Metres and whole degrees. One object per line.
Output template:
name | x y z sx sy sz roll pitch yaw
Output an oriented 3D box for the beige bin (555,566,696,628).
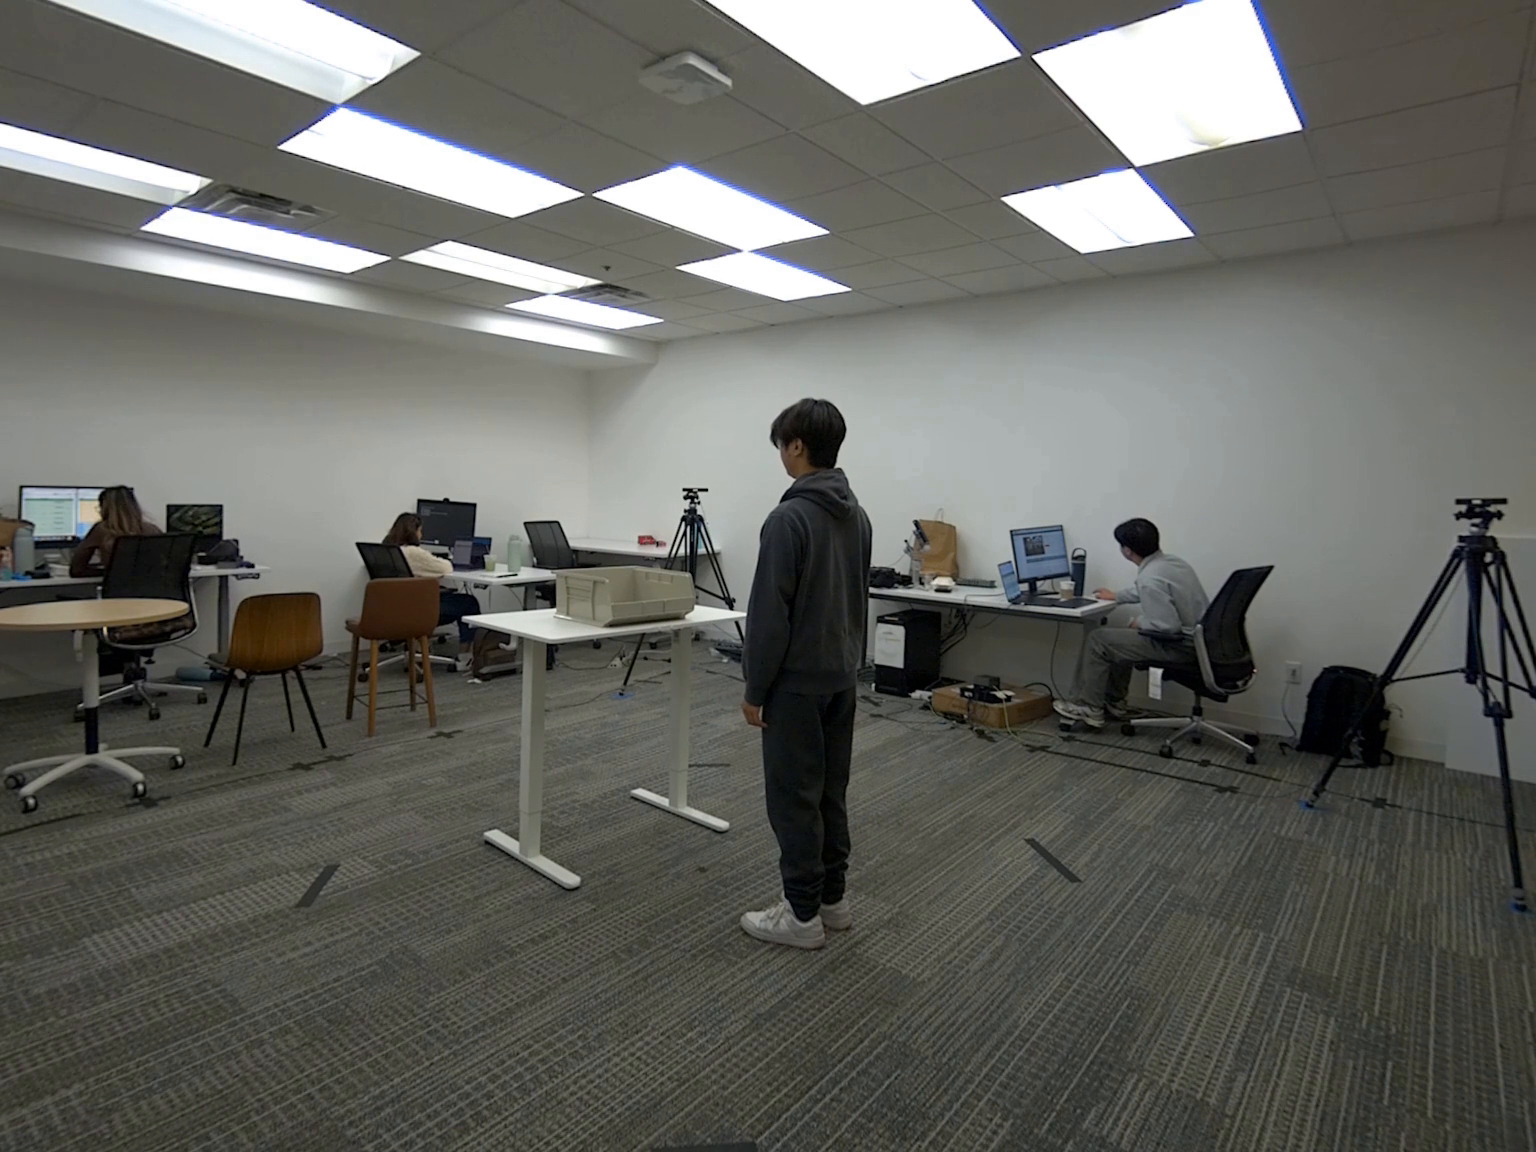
beige bin | -0.571 0.075 3.302 0.390 0.188 0.409 5 6 43
